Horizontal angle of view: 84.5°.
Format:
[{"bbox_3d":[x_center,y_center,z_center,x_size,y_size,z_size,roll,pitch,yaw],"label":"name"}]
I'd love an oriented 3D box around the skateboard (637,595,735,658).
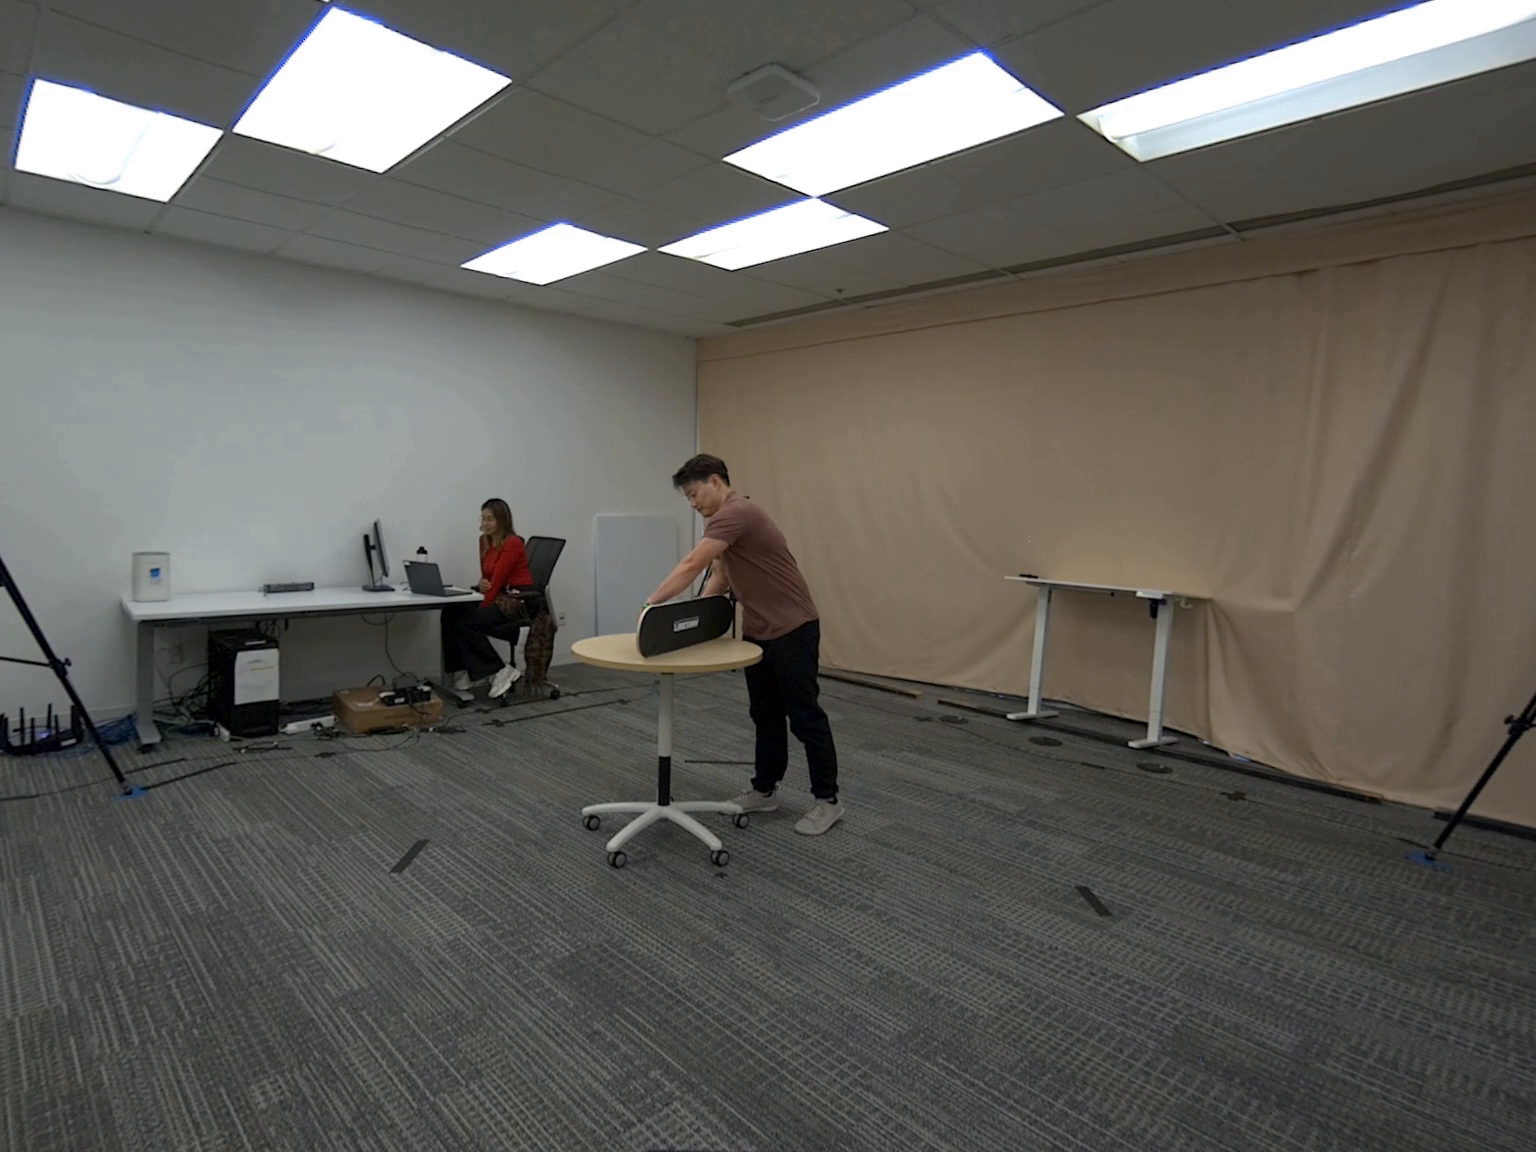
[{"bbox_3d":[-0.357,0.195,3.390,0.112,0.193,0.772,3,4,24],"label":"skateboard"}]
